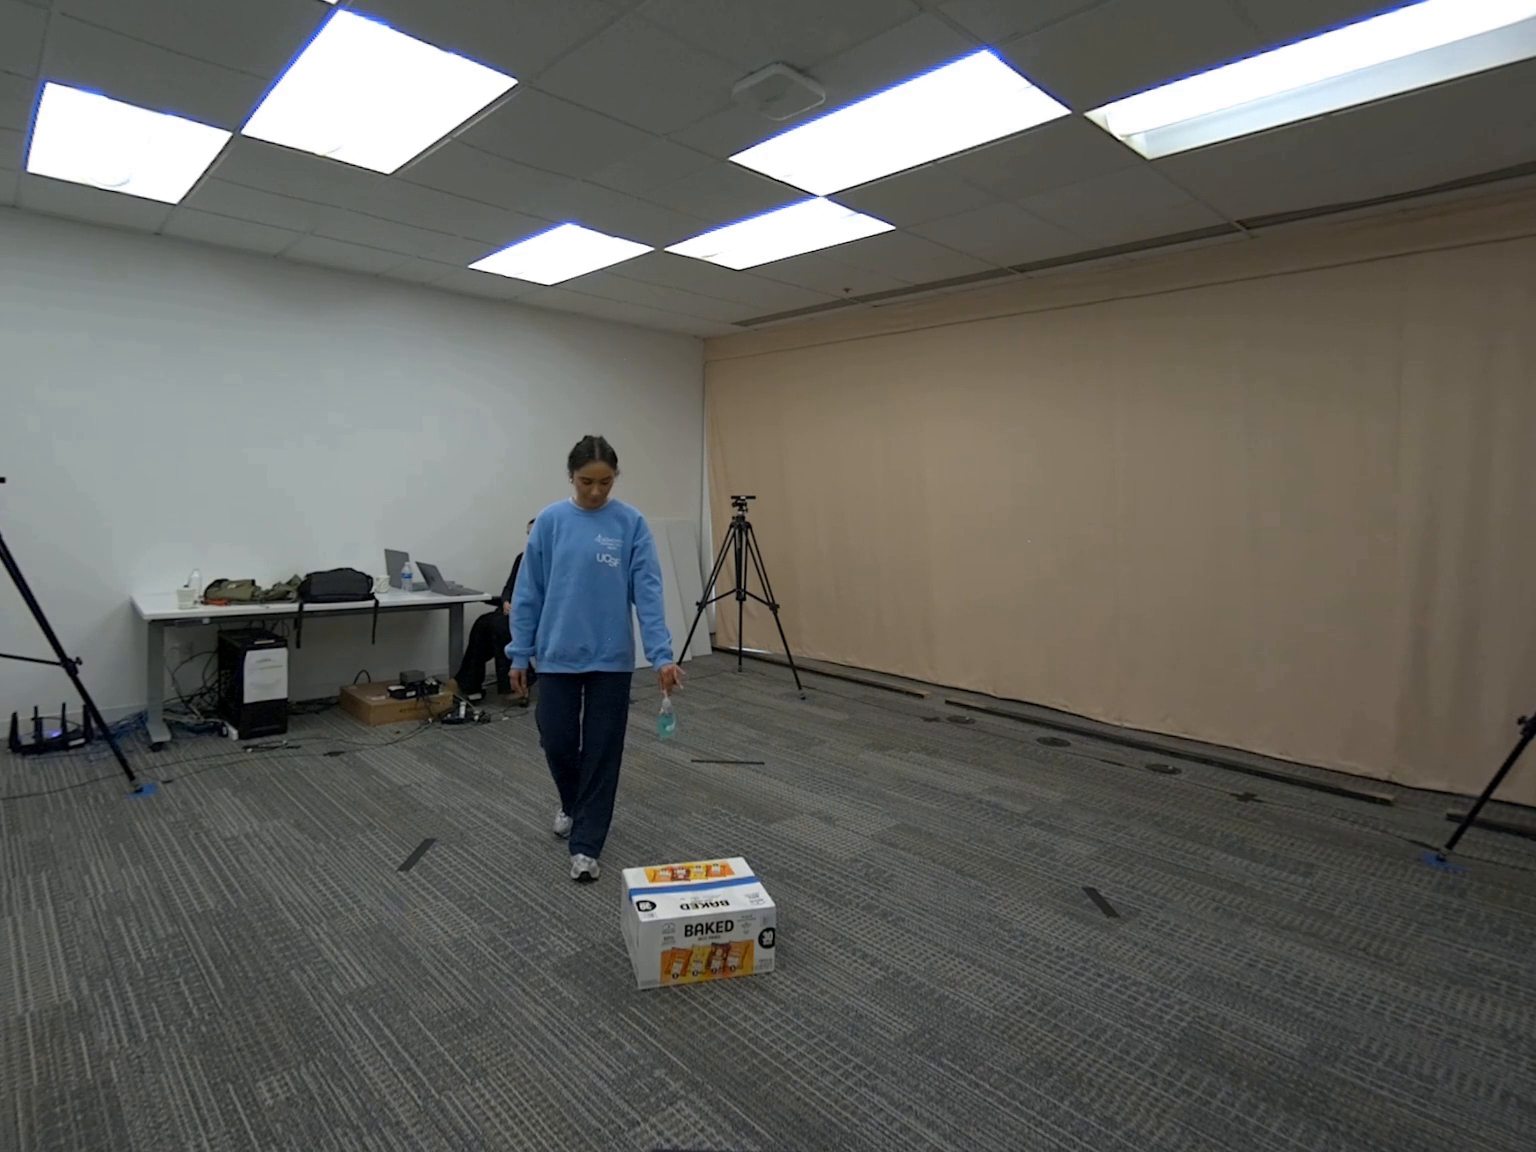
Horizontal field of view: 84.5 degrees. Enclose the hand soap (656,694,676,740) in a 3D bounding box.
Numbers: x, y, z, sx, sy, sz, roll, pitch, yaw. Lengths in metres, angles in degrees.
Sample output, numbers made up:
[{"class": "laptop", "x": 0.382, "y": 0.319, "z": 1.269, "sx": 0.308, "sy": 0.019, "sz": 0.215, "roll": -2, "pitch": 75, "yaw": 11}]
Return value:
[{"class": "hand soap", "x": -0.364, "y": 0.487, "z": 3.021, "sx": 0.044, "sy": 0.168, "sz": 0.082, "roll": -1, "pitch": -2, "yaw": 36}]
